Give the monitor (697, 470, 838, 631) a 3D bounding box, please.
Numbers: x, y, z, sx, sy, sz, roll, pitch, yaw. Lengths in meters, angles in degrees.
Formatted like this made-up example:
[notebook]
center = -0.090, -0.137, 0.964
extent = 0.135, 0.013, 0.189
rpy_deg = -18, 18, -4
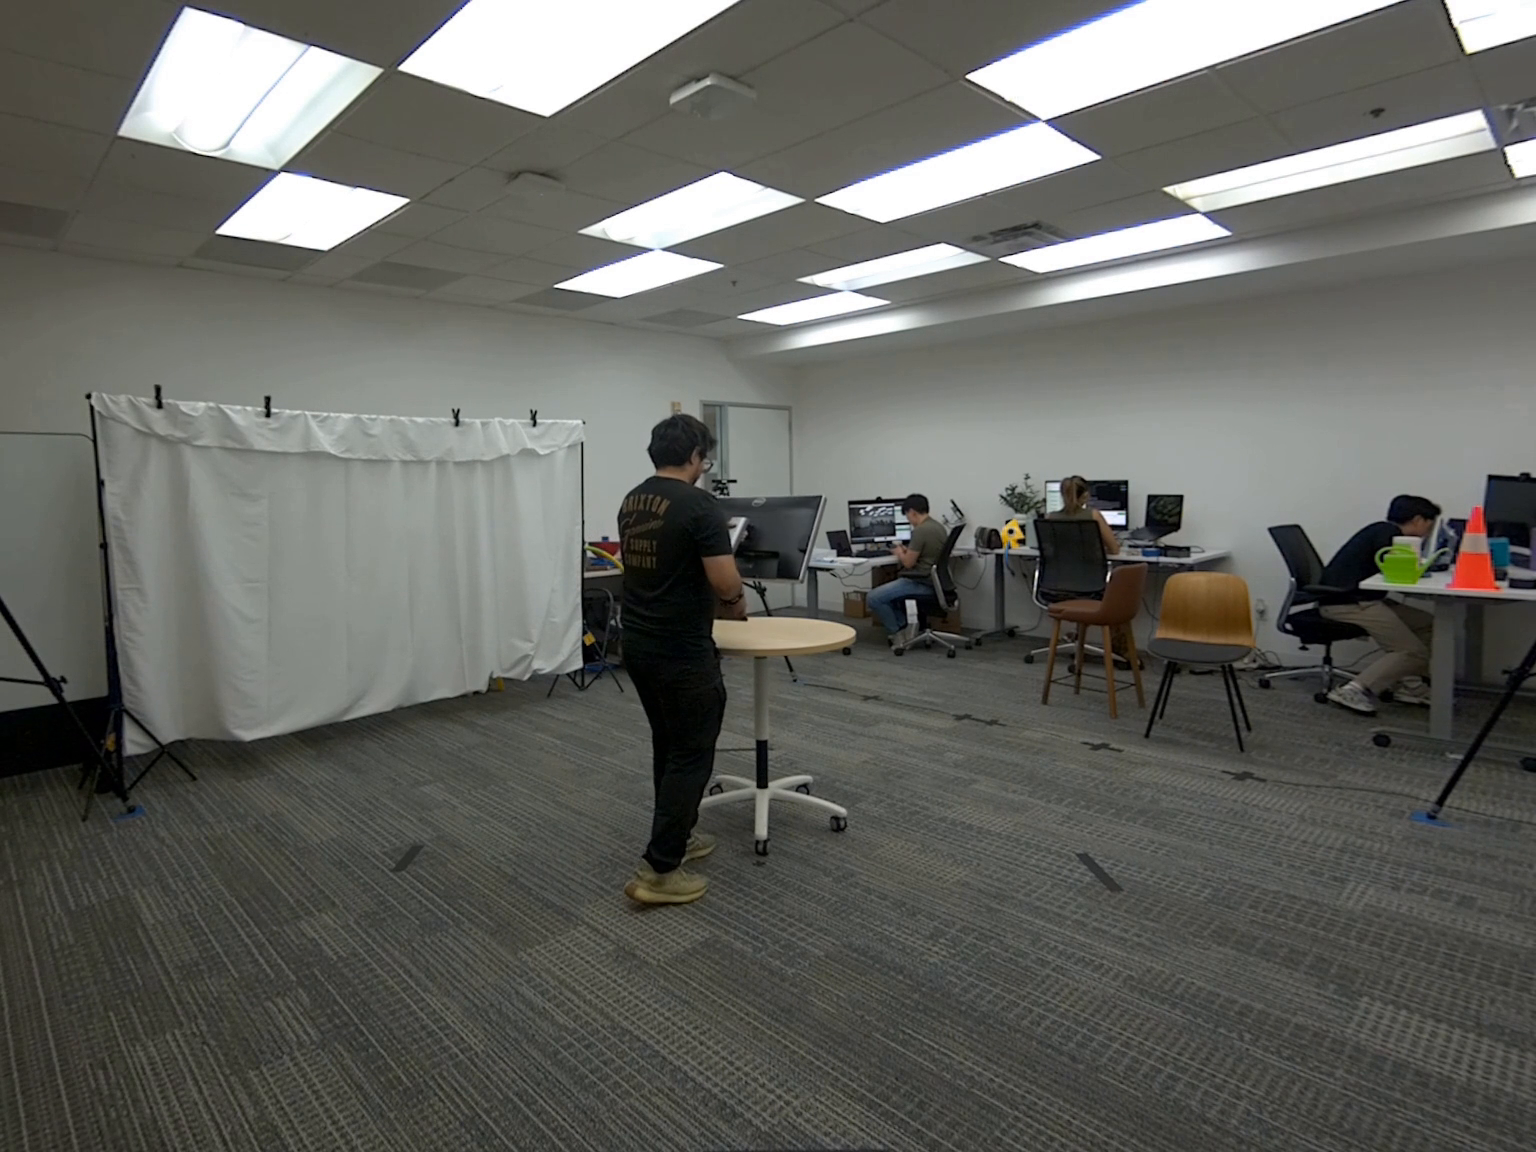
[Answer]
[monitor]
center = -0.107, -0.111, 3.259
extent = 0.582, 0.560, 0.202
rpy_deg = 2, -32, 36
